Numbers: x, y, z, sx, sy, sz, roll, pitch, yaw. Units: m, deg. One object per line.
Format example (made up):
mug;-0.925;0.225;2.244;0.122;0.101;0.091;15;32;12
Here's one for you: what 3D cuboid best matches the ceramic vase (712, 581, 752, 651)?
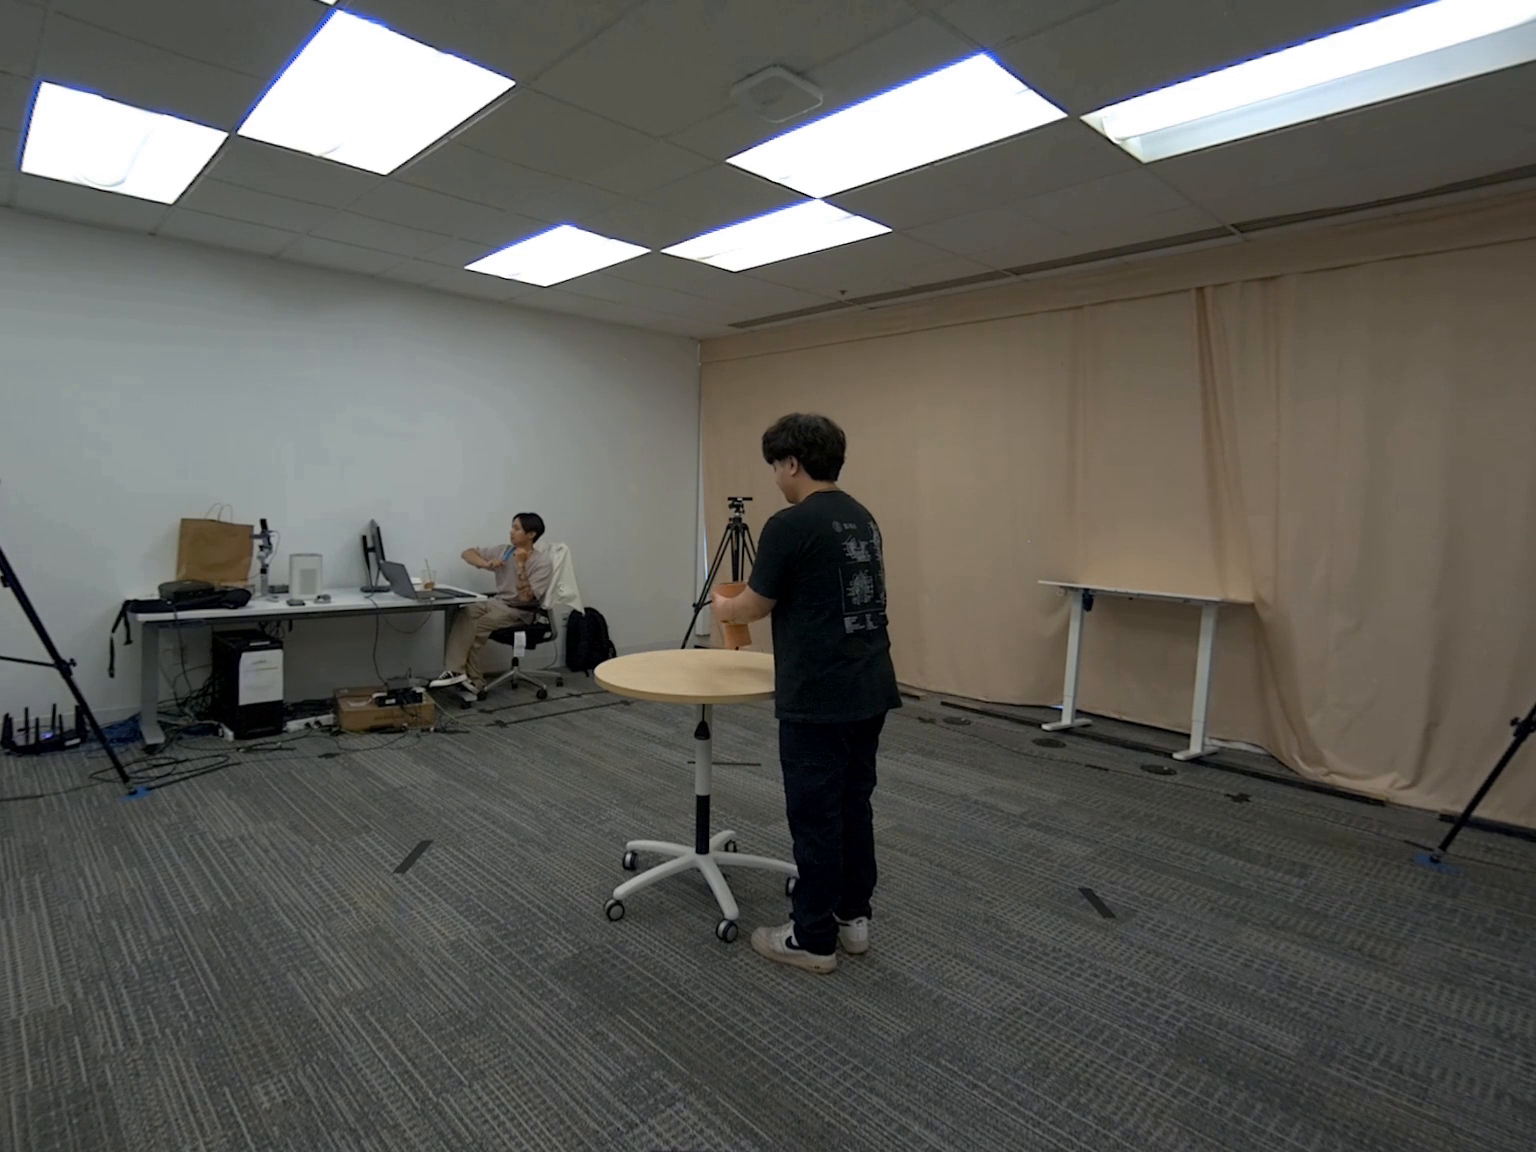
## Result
ceramic vase;-0.114;0.138;2.959;0.132;0.219;0.161;-6;2;-23
